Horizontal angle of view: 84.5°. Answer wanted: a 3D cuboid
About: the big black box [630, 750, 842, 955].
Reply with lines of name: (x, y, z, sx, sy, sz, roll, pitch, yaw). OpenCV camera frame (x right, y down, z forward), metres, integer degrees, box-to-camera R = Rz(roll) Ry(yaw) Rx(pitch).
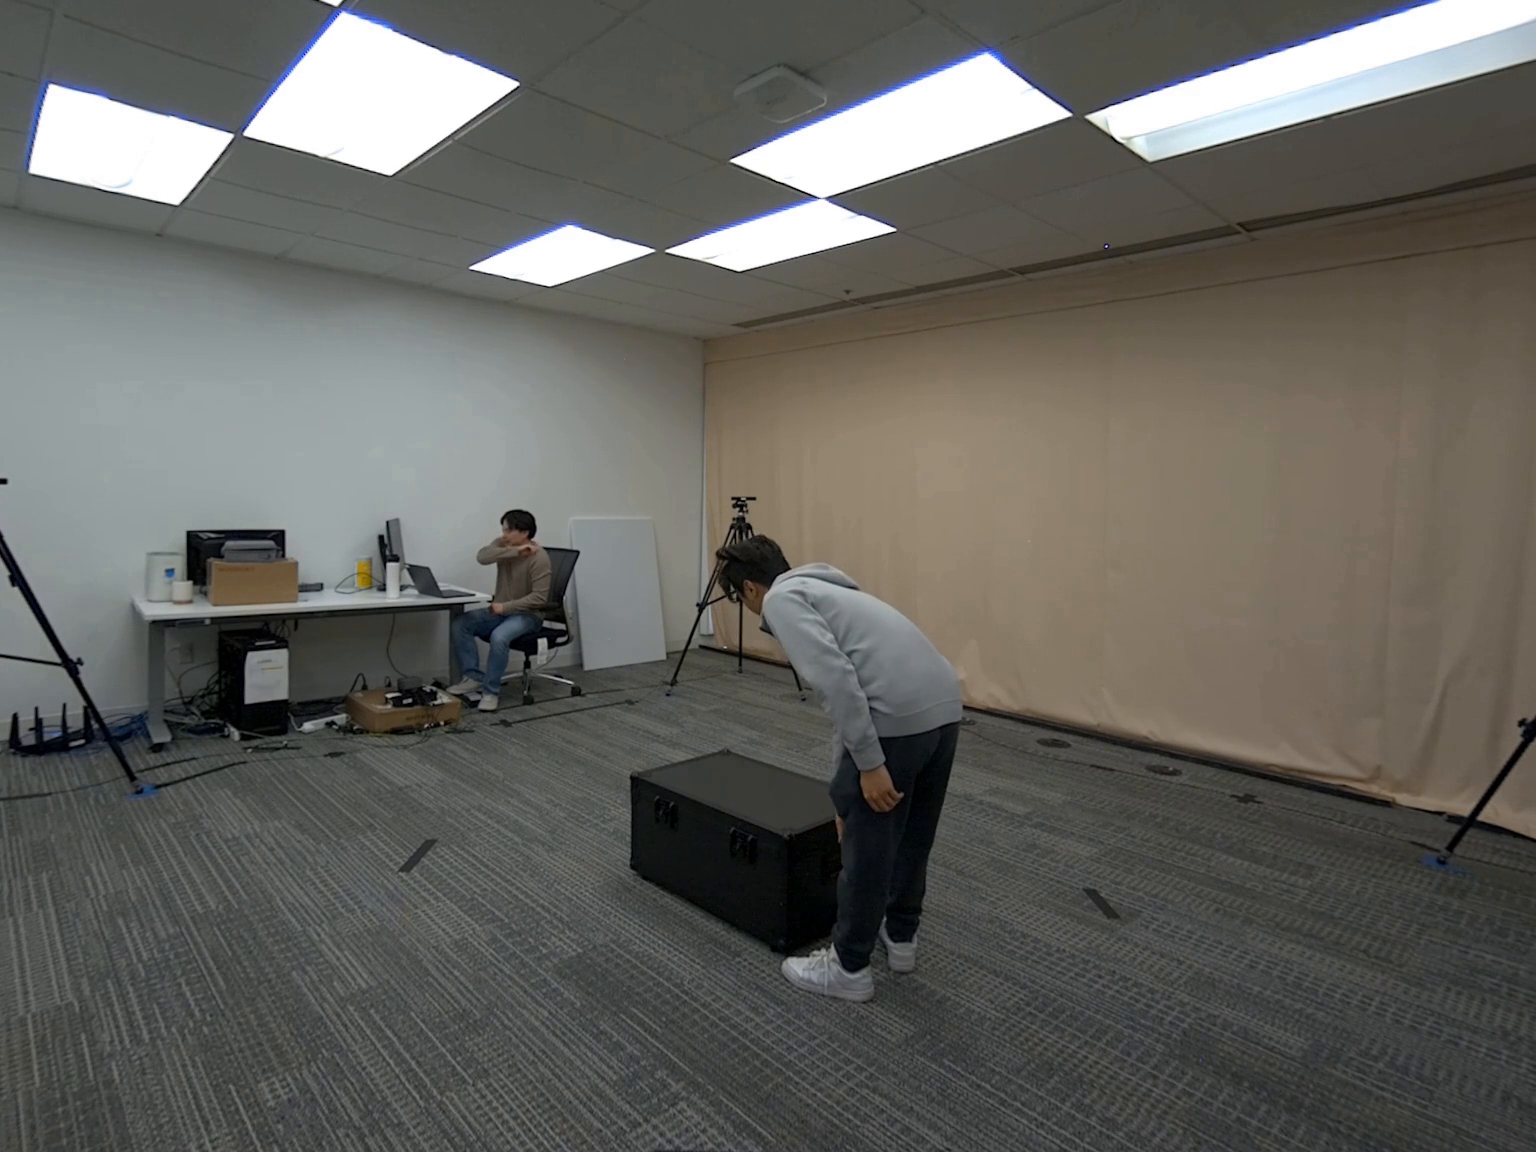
big black box: (-0.085, 0.928, 3.005, 0.884, 0.395, 0.509, 7, 7, 44)
